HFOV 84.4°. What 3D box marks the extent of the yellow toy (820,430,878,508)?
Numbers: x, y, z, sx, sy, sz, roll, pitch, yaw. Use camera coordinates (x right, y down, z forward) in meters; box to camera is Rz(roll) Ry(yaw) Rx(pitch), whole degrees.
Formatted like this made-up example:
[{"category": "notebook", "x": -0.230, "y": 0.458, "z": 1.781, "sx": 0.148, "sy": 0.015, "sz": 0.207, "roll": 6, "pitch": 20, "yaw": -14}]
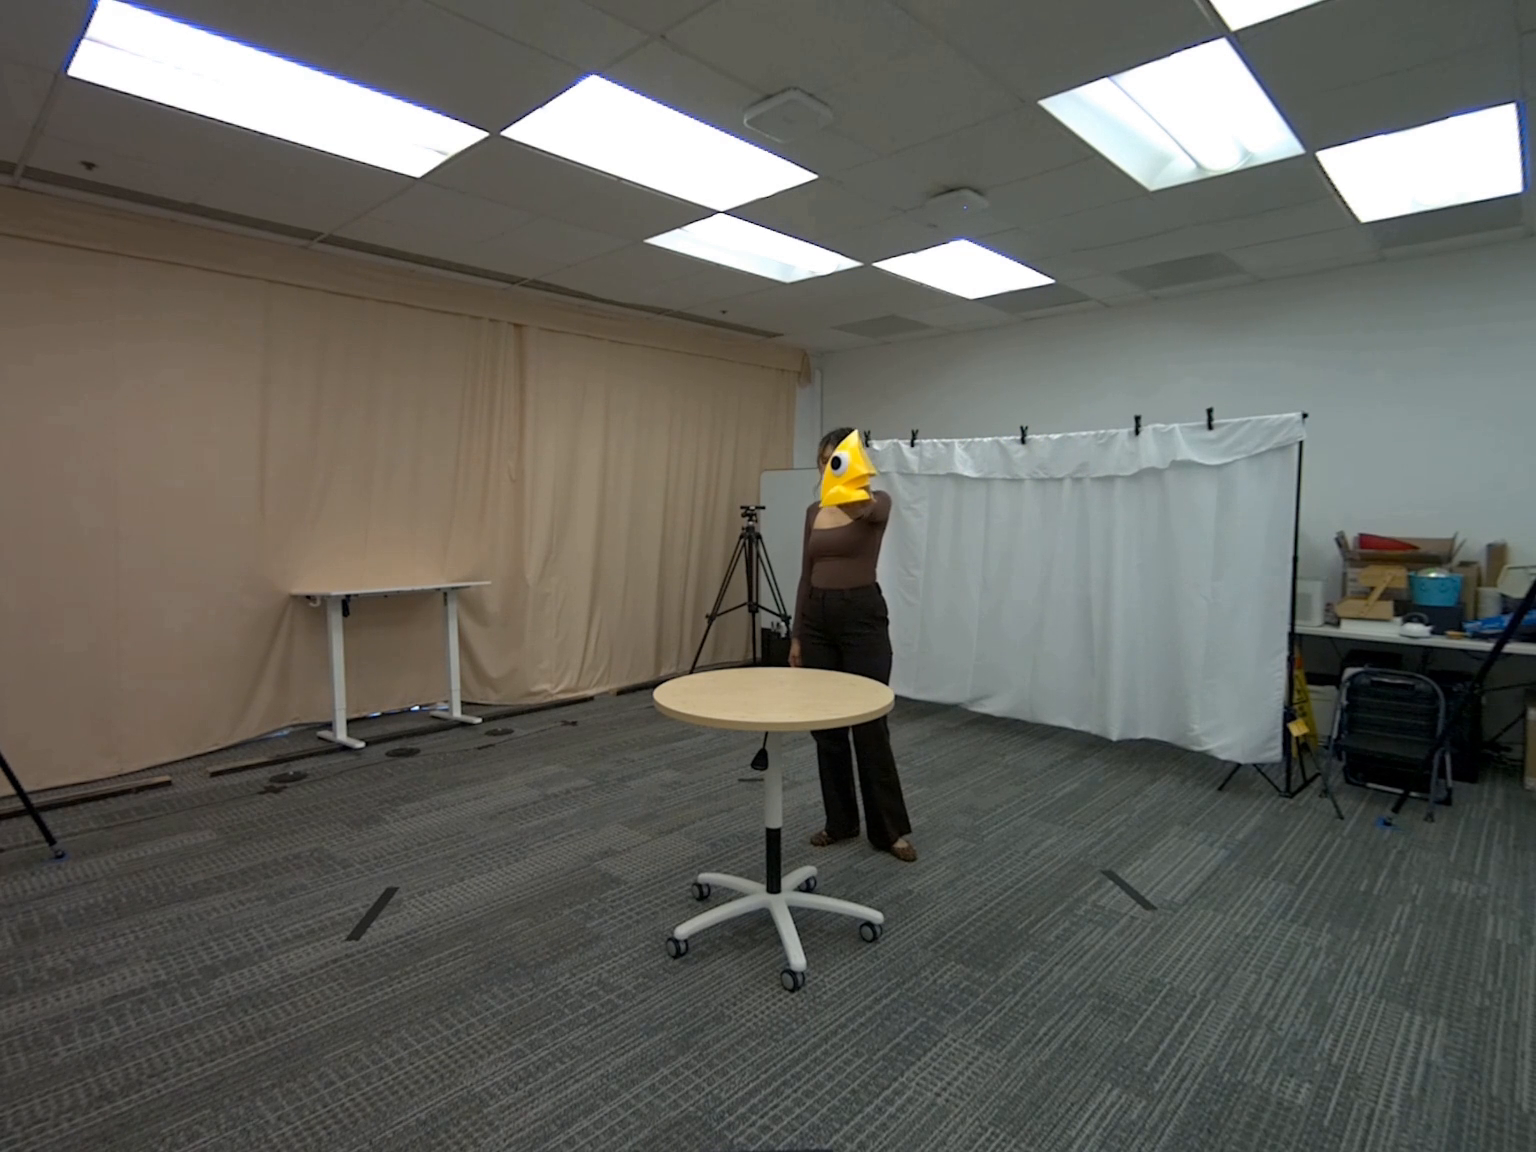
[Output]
[{"category": "yellow toy", "x": 0.260, "y": -0.355, "z": 2.761, "sx": 0.196, "sy": 0.230, "sz": 0.201, "roll": -9, "pitch": 1, "yaw": 19}]
